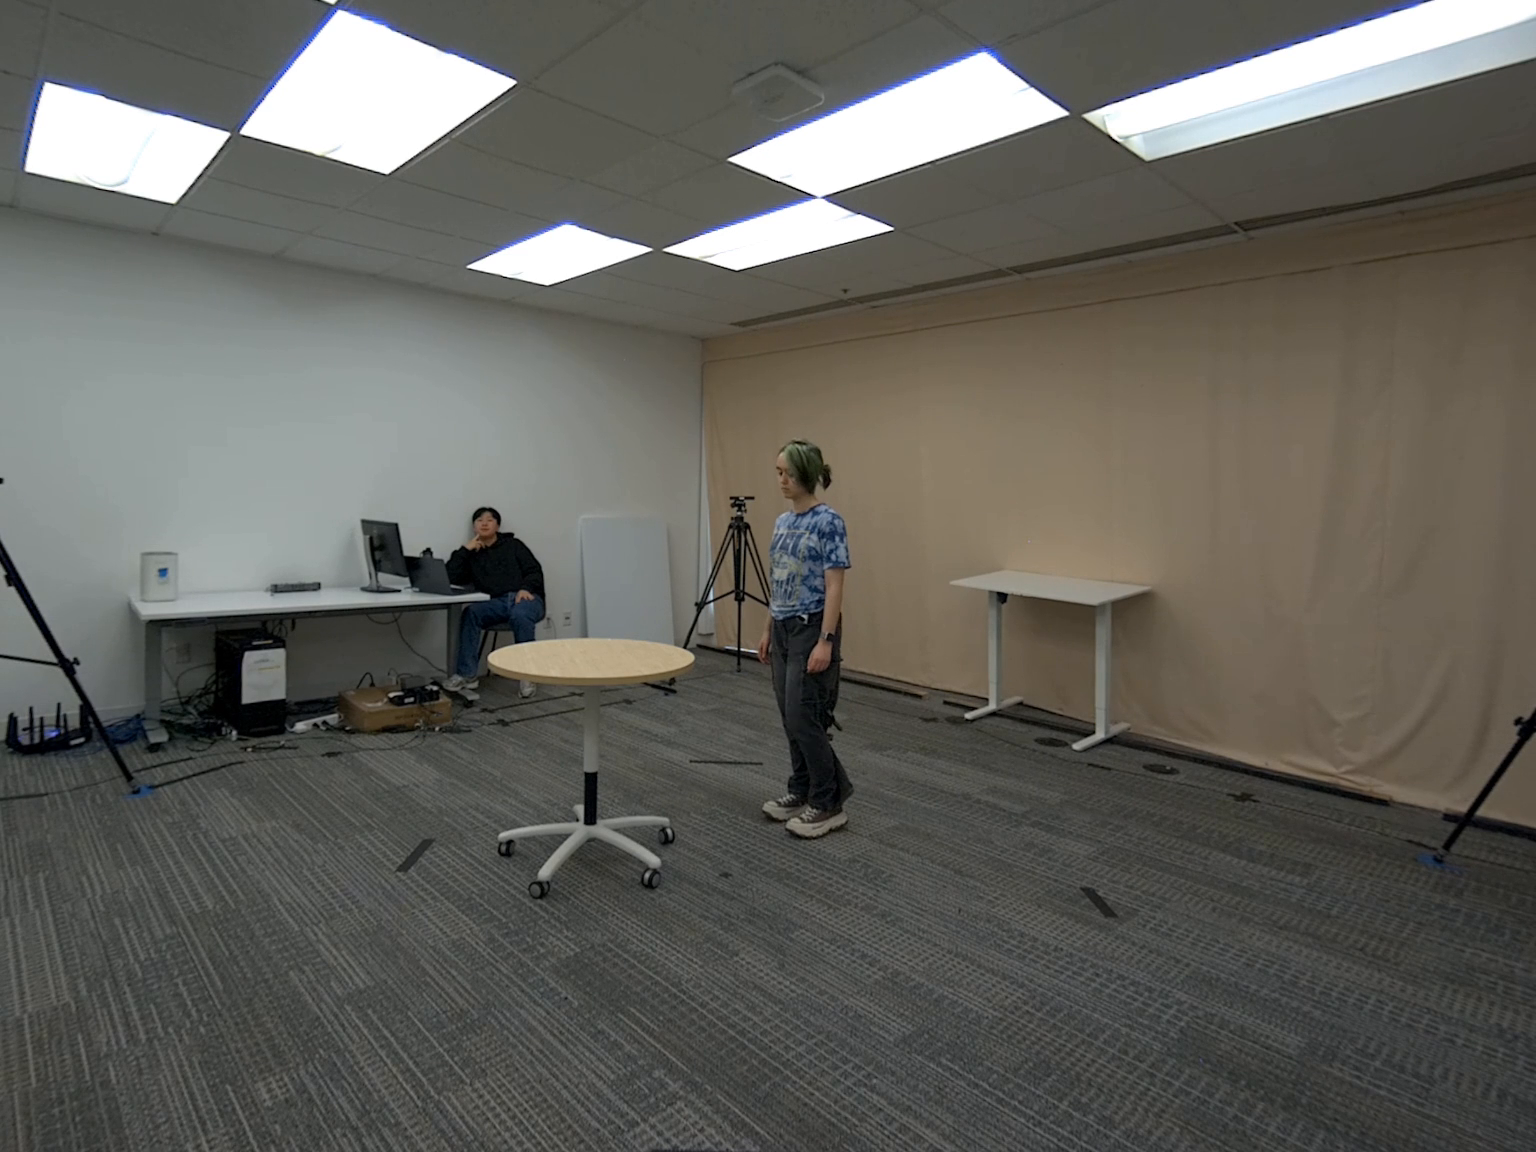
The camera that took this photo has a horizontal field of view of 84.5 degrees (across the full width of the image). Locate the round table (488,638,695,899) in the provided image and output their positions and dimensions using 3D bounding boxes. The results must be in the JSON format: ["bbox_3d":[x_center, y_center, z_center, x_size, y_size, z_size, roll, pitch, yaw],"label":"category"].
[{"bbox_3d":[-0.670,0.696,3.188,0.763,0.792,0.766,1,4,-1],"label":"round table"}]
